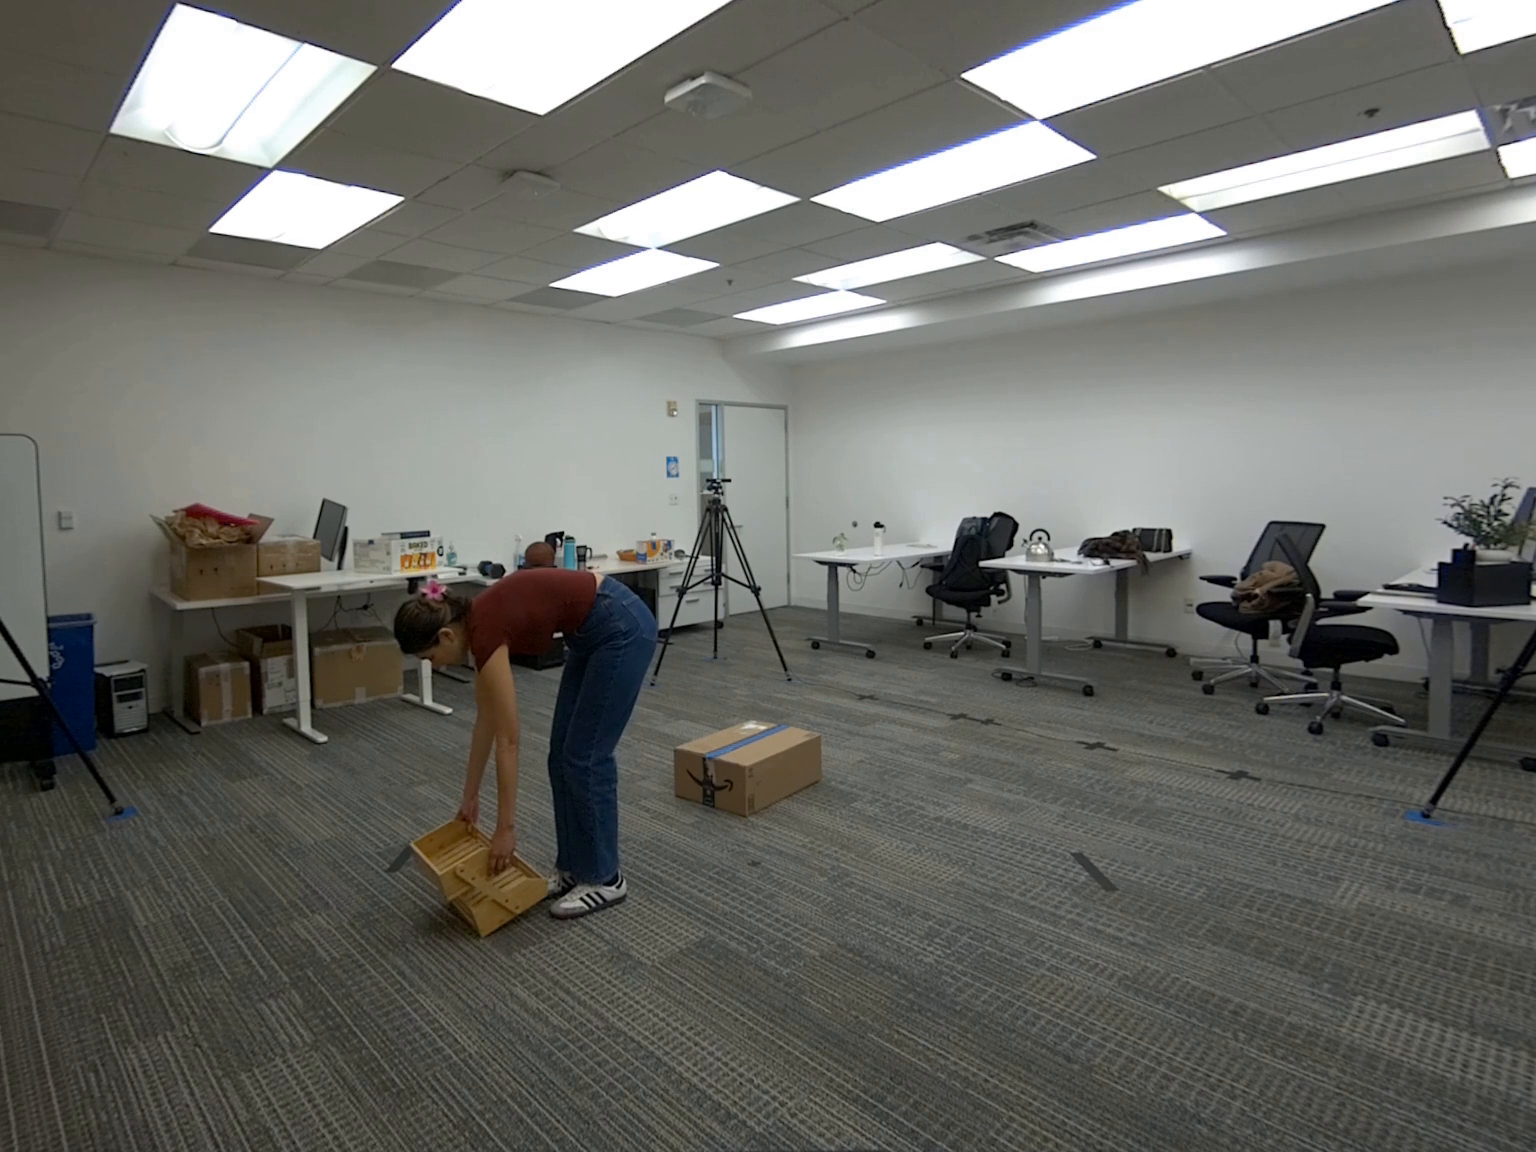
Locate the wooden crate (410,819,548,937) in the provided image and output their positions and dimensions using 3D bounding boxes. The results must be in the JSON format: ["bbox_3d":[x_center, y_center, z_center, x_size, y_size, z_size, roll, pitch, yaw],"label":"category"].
[{"bbox_3d":[-0.944,0.939,2.775,0.298,0.269,0.334,-25,17,-34],"label":"wooden crate"}]
